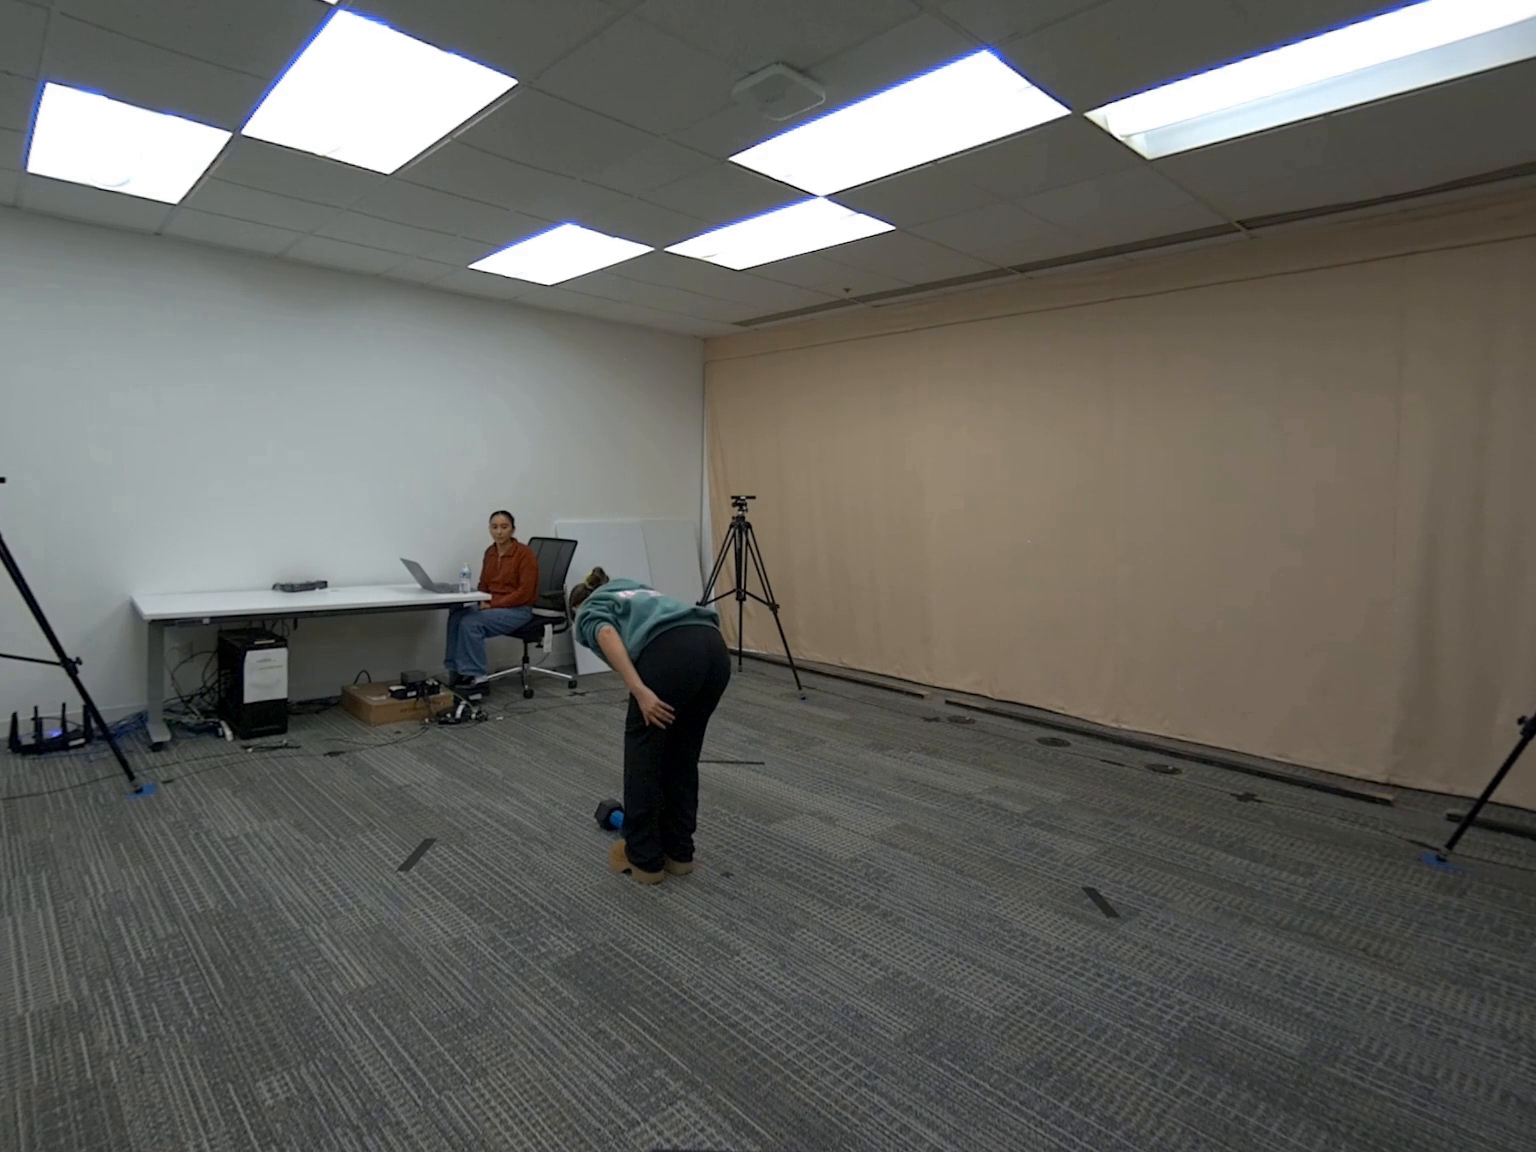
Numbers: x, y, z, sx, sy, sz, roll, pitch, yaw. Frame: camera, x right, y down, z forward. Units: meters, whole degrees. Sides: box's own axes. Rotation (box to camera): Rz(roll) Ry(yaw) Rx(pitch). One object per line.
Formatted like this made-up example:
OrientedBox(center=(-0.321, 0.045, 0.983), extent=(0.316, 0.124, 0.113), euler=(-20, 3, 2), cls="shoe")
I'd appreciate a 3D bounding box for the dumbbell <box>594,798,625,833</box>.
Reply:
OrientedBox(center=(-0.598, 1.009, 3.441), extent=(0.108, 0.120, 0.301), euler=(-37, 27, -31), cls="dumbbell")
